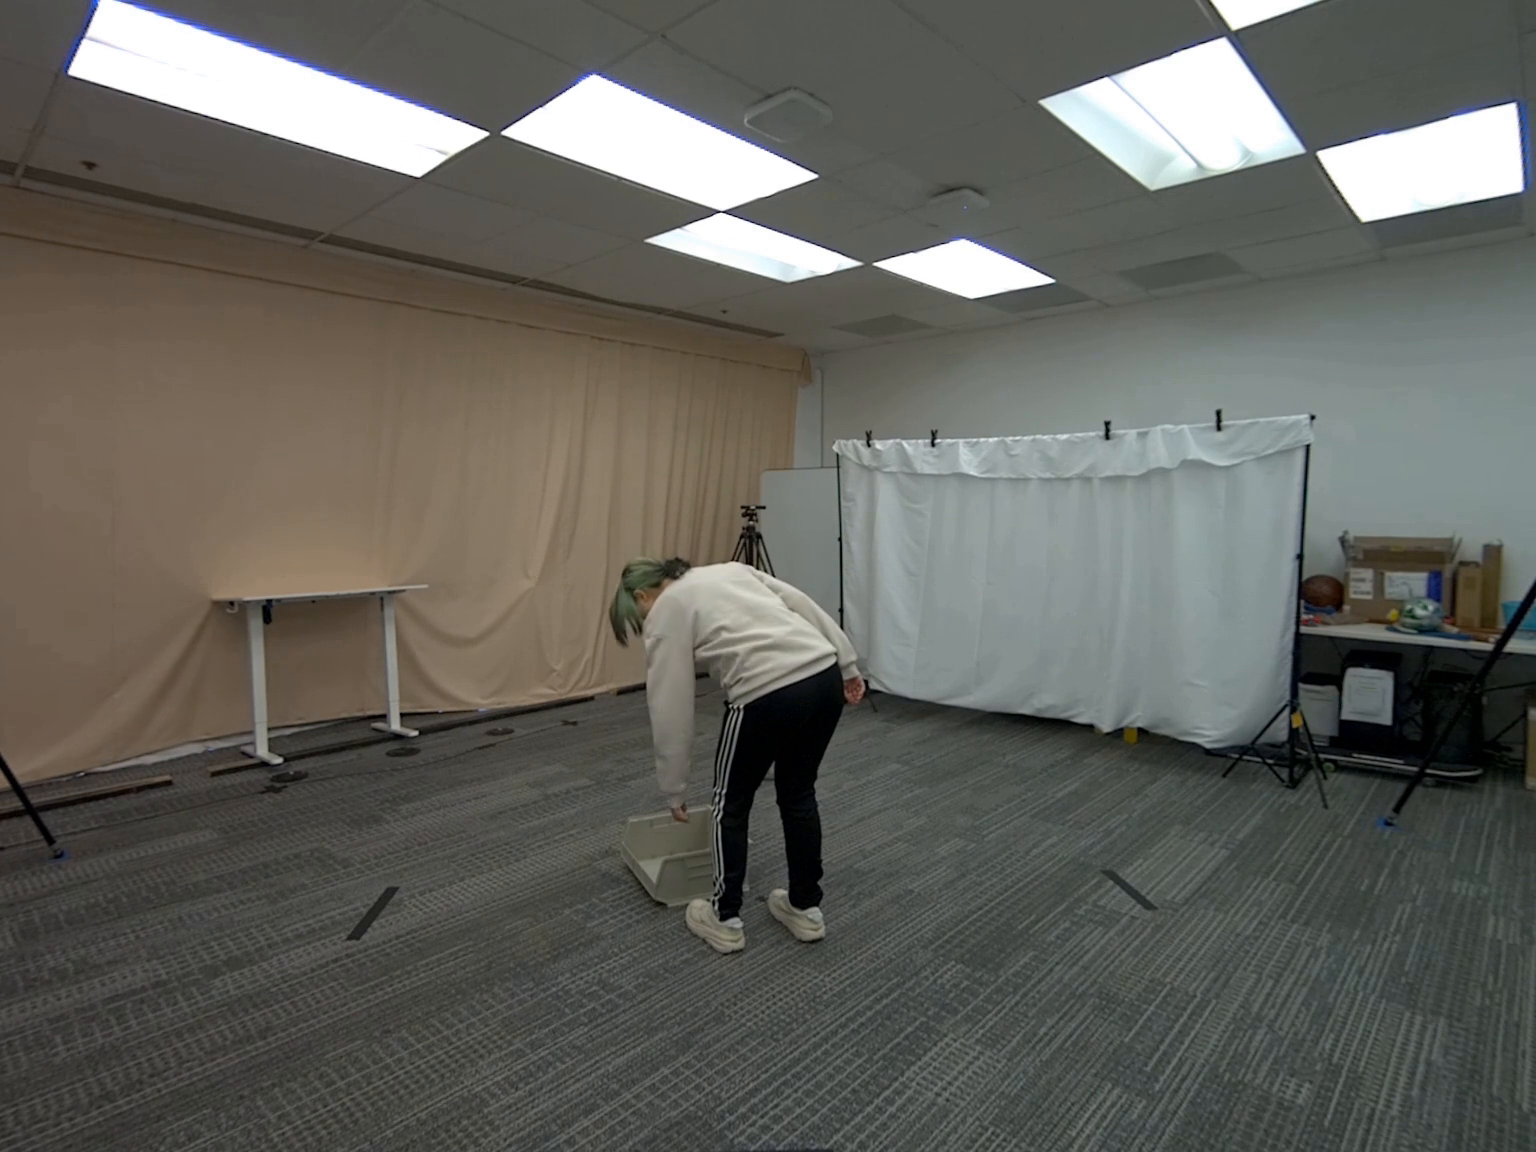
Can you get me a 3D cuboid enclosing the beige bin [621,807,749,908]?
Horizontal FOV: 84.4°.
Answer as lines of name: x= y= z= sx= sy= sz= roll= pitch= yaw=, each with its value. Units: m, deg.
beige bin: x=-0.316 y=1.042 z=3.156 sx=0.368 sy=0.188 sz=0.433 roll=-2 pitch=4 yaw=-25
